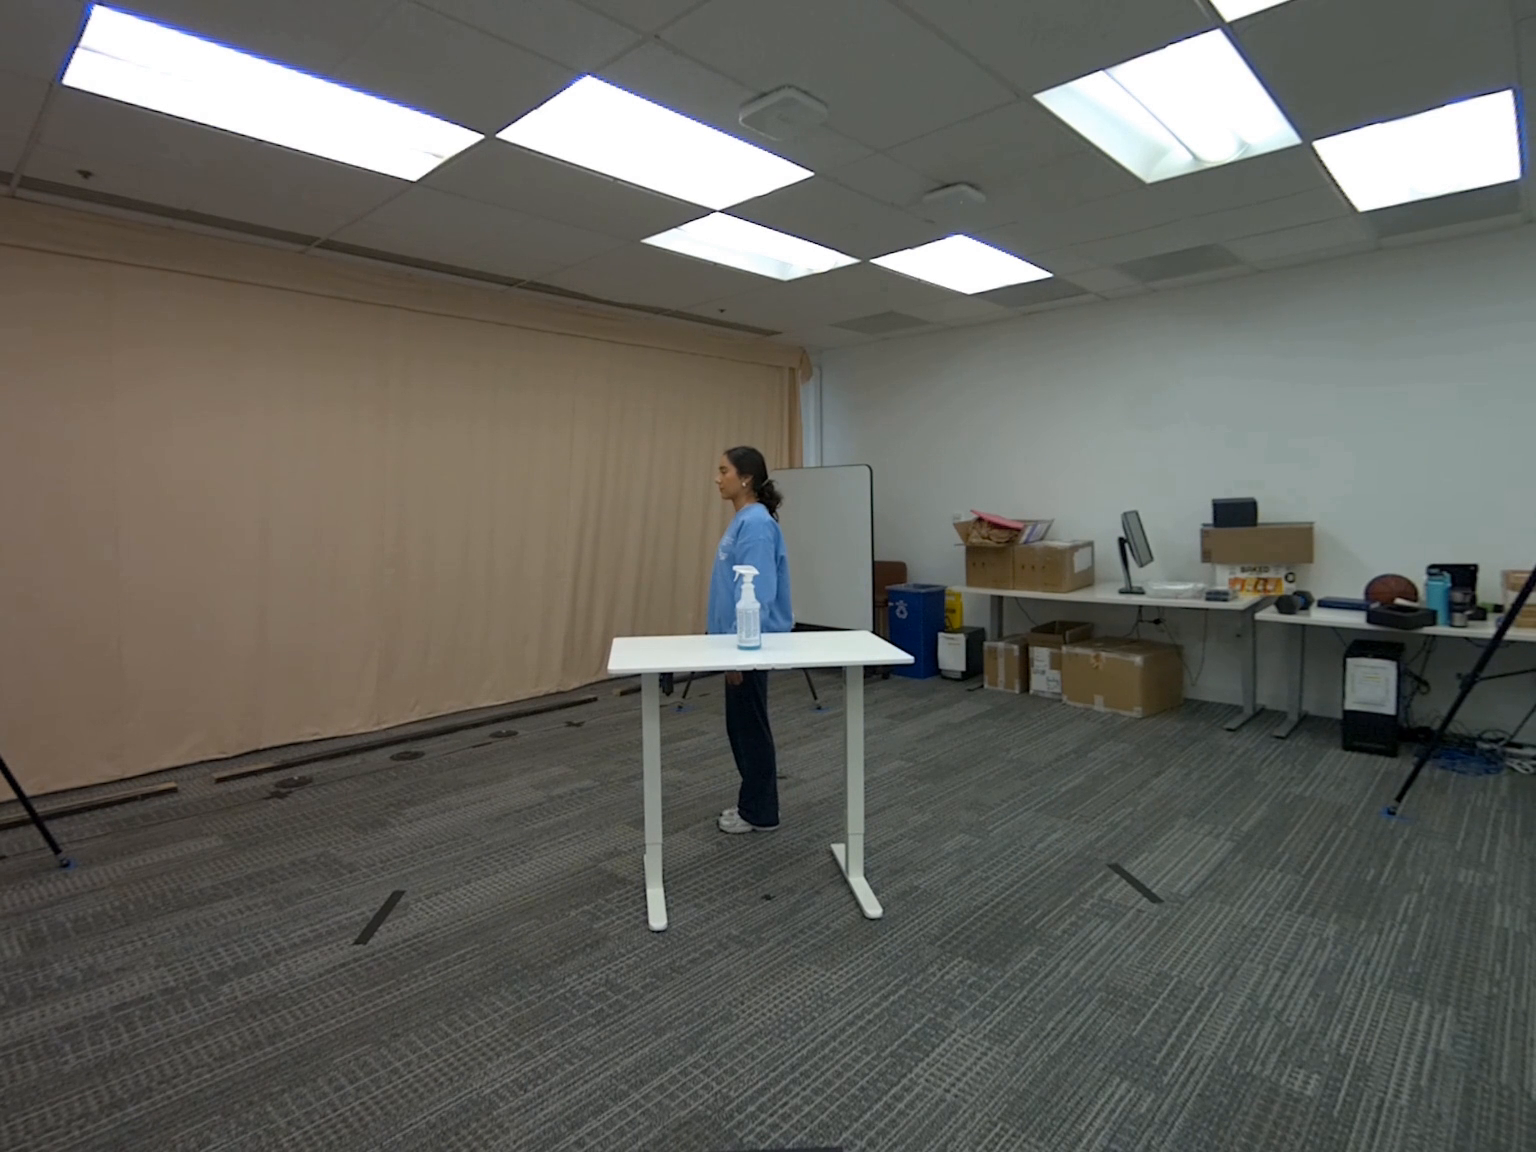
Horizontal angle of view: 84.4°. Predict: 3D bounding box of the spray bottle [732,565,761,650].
[{"bbox_3d":[-0.072,0.111,2.992,0.092,0.296,0.085,-2,4,19],"label":"spray bottle"}]
